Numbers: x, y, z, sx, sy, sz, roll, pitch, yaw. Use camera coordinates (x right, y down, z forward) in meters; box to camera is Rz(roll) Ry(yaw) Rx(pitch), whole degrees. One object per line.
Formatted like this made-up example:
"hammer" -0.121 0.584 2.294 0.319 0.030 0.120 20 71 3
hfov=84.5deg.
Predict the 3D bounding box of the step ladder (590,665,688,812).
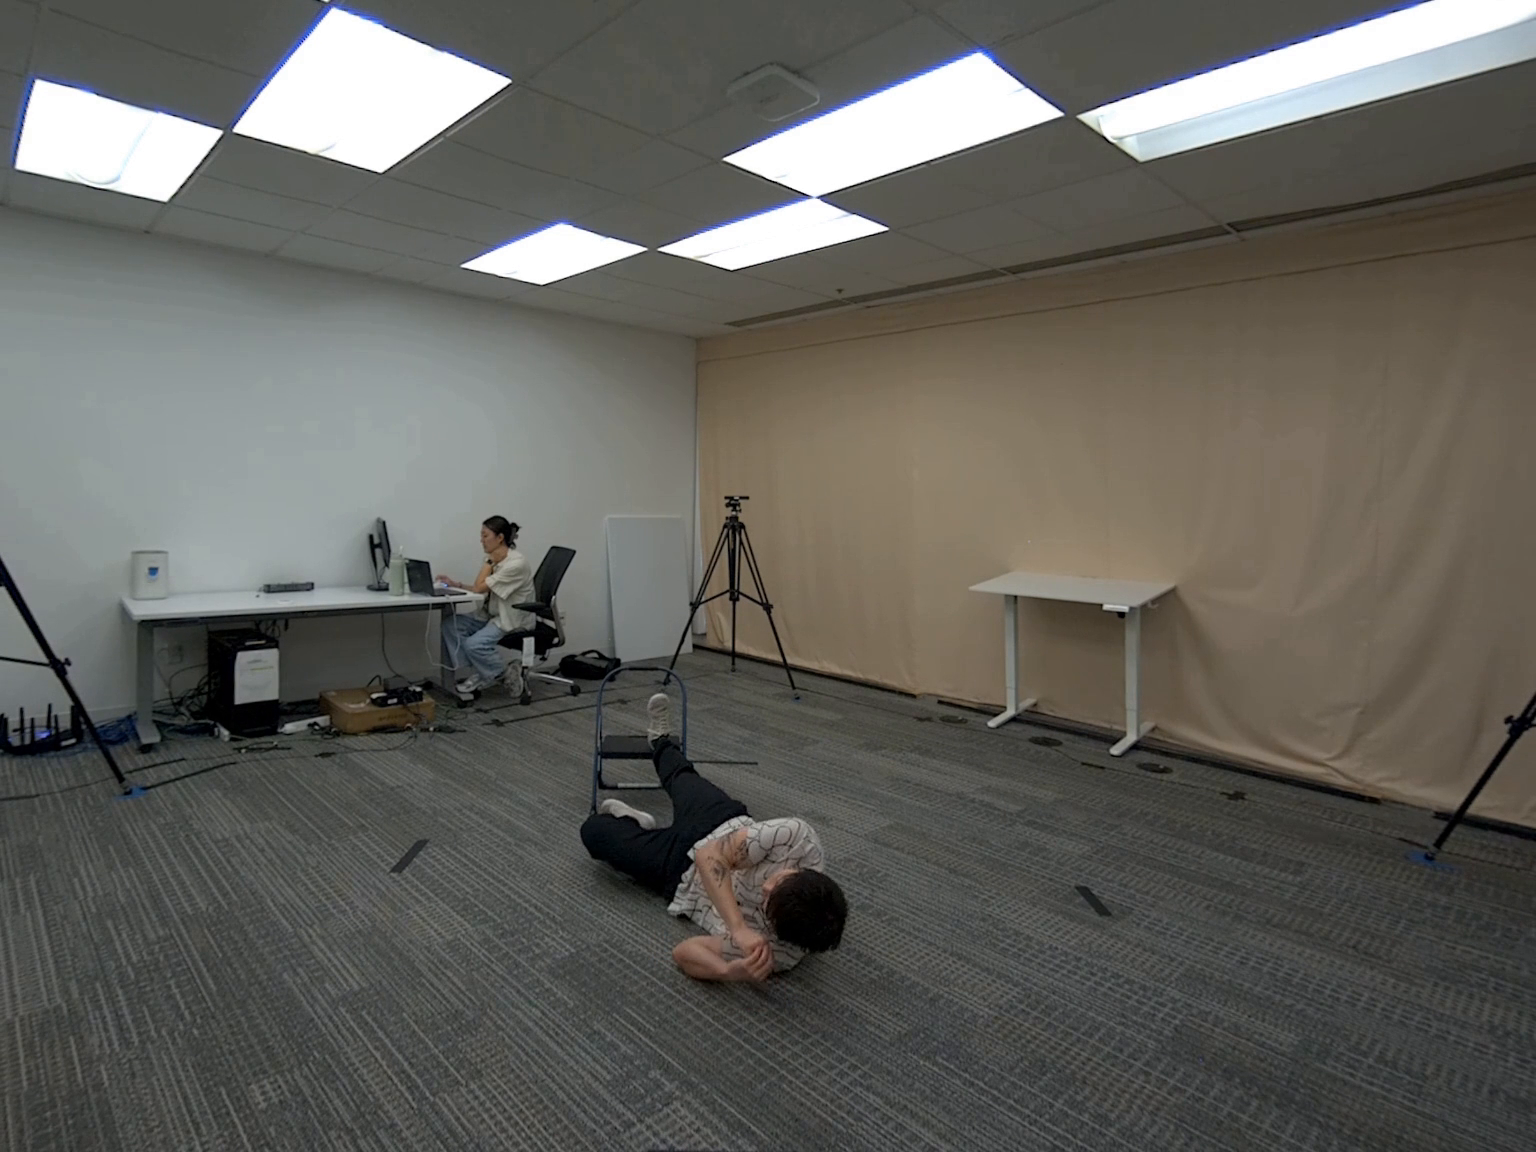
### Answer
"step ladder" -0.587 0.728 3.840 0.429 0.604 0.352 1 3 -6
